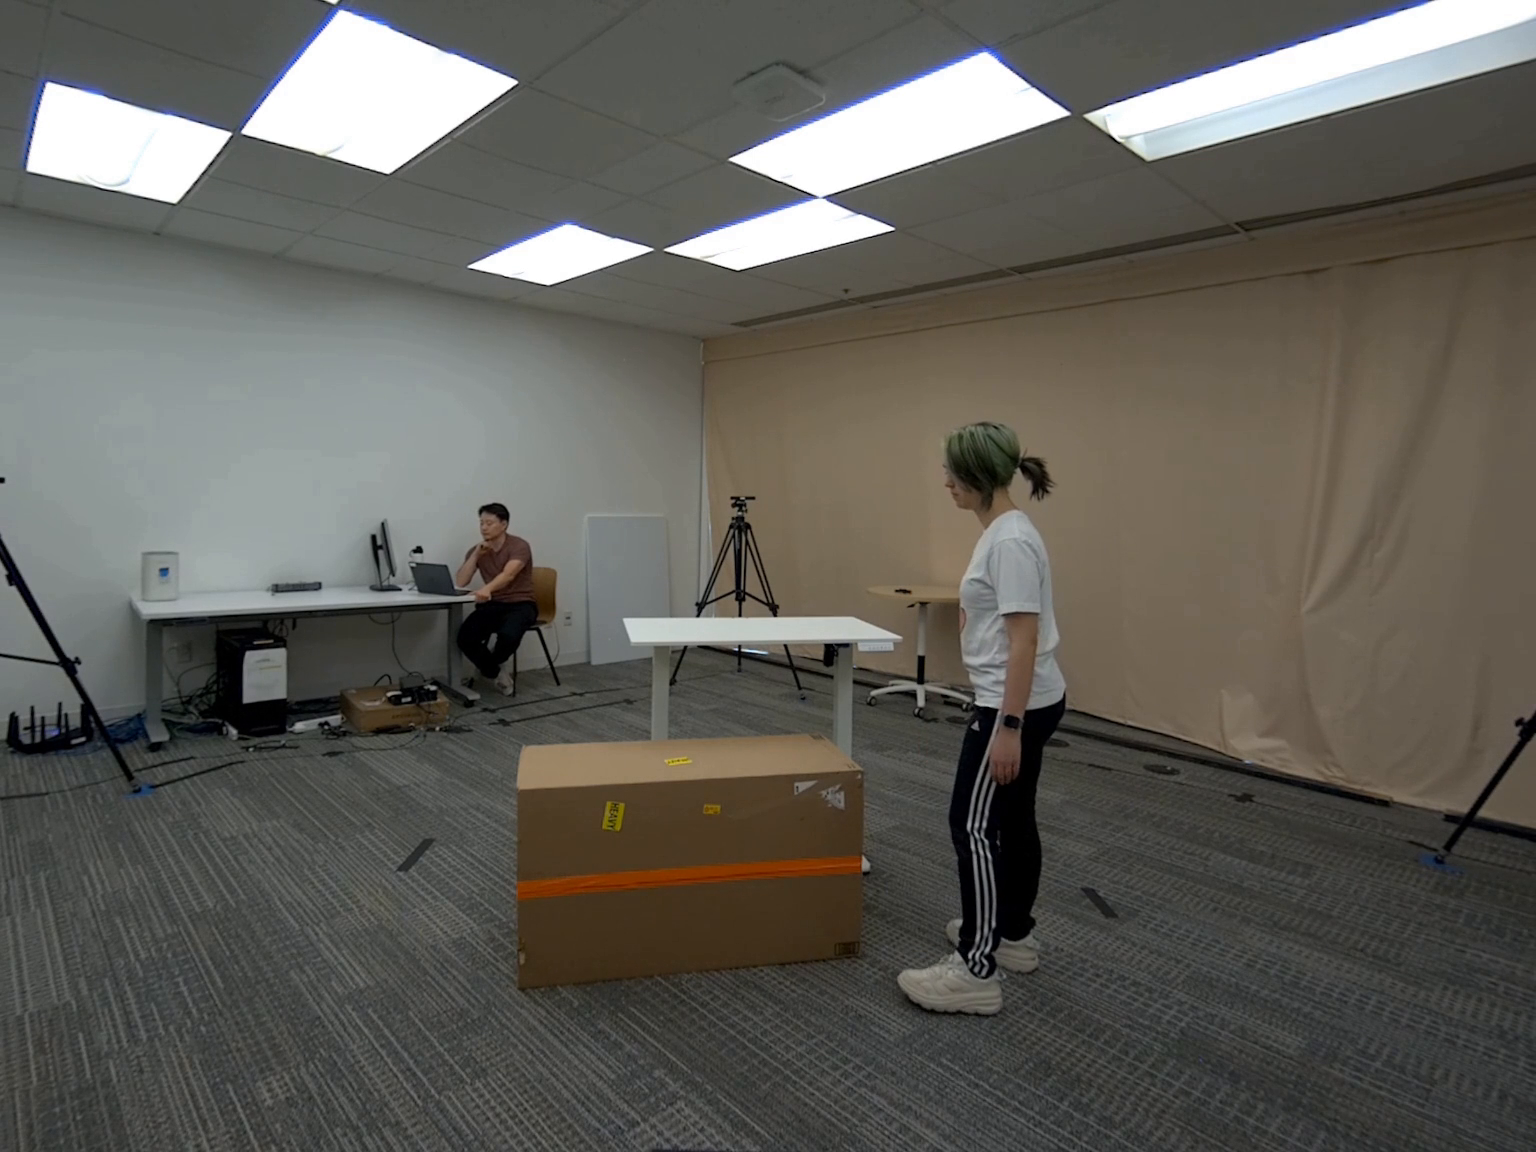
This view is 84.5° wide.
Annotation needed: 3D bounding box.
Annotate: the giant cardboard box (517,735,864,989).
[{"bbox_3d":[-0.264,0.850,2.647,1.016,0.582,0.452,0,4,-13],"label":"giant cardboard box"}]
